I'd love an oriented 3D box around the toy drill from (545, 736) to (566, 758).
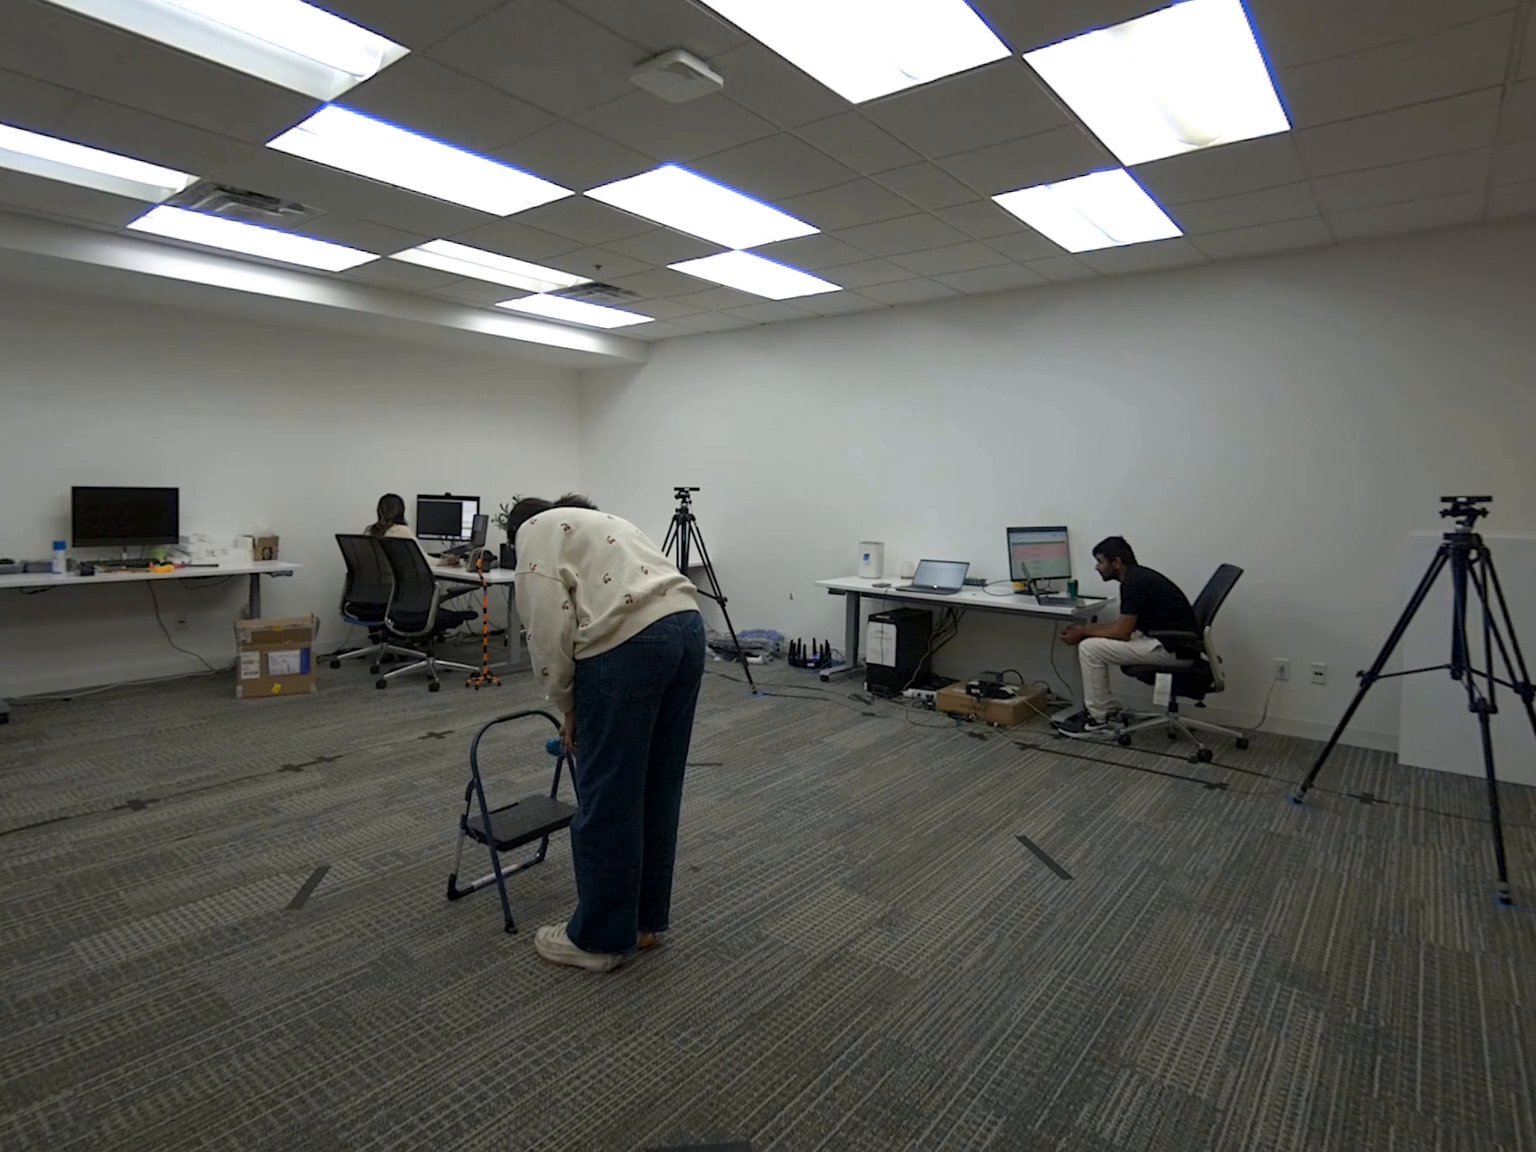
[{"bbox_3d":[-0.713,0.571,2.961,0.145,0.063,0.165,-32,-20,-7],"label":"toy drill"}]
